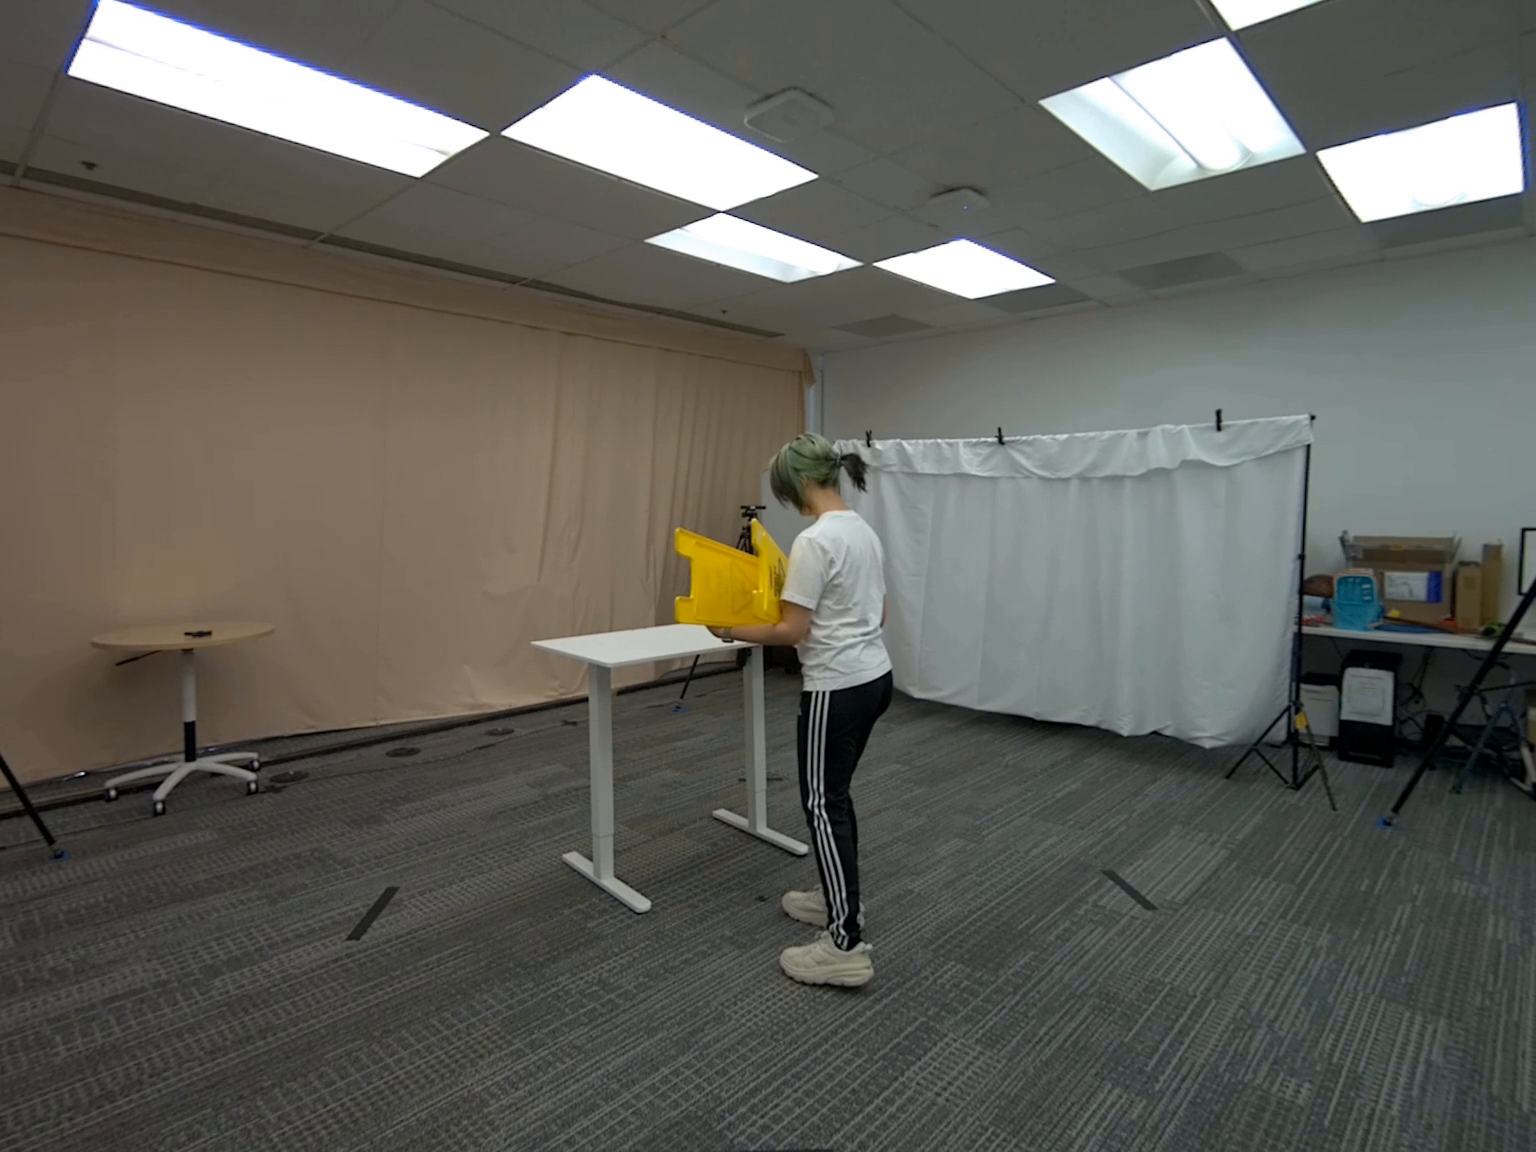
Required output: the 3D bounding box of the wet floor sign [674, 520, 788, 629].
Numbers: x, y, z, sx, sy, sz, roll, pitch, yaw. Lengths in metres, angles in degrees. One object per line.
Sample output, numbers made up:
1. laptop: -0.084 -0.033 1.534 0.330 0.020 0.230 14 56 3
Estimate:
1. wet floor sign: -0.021 0.044 2.648 0.296 0.284 0.626 -5 -13 23
